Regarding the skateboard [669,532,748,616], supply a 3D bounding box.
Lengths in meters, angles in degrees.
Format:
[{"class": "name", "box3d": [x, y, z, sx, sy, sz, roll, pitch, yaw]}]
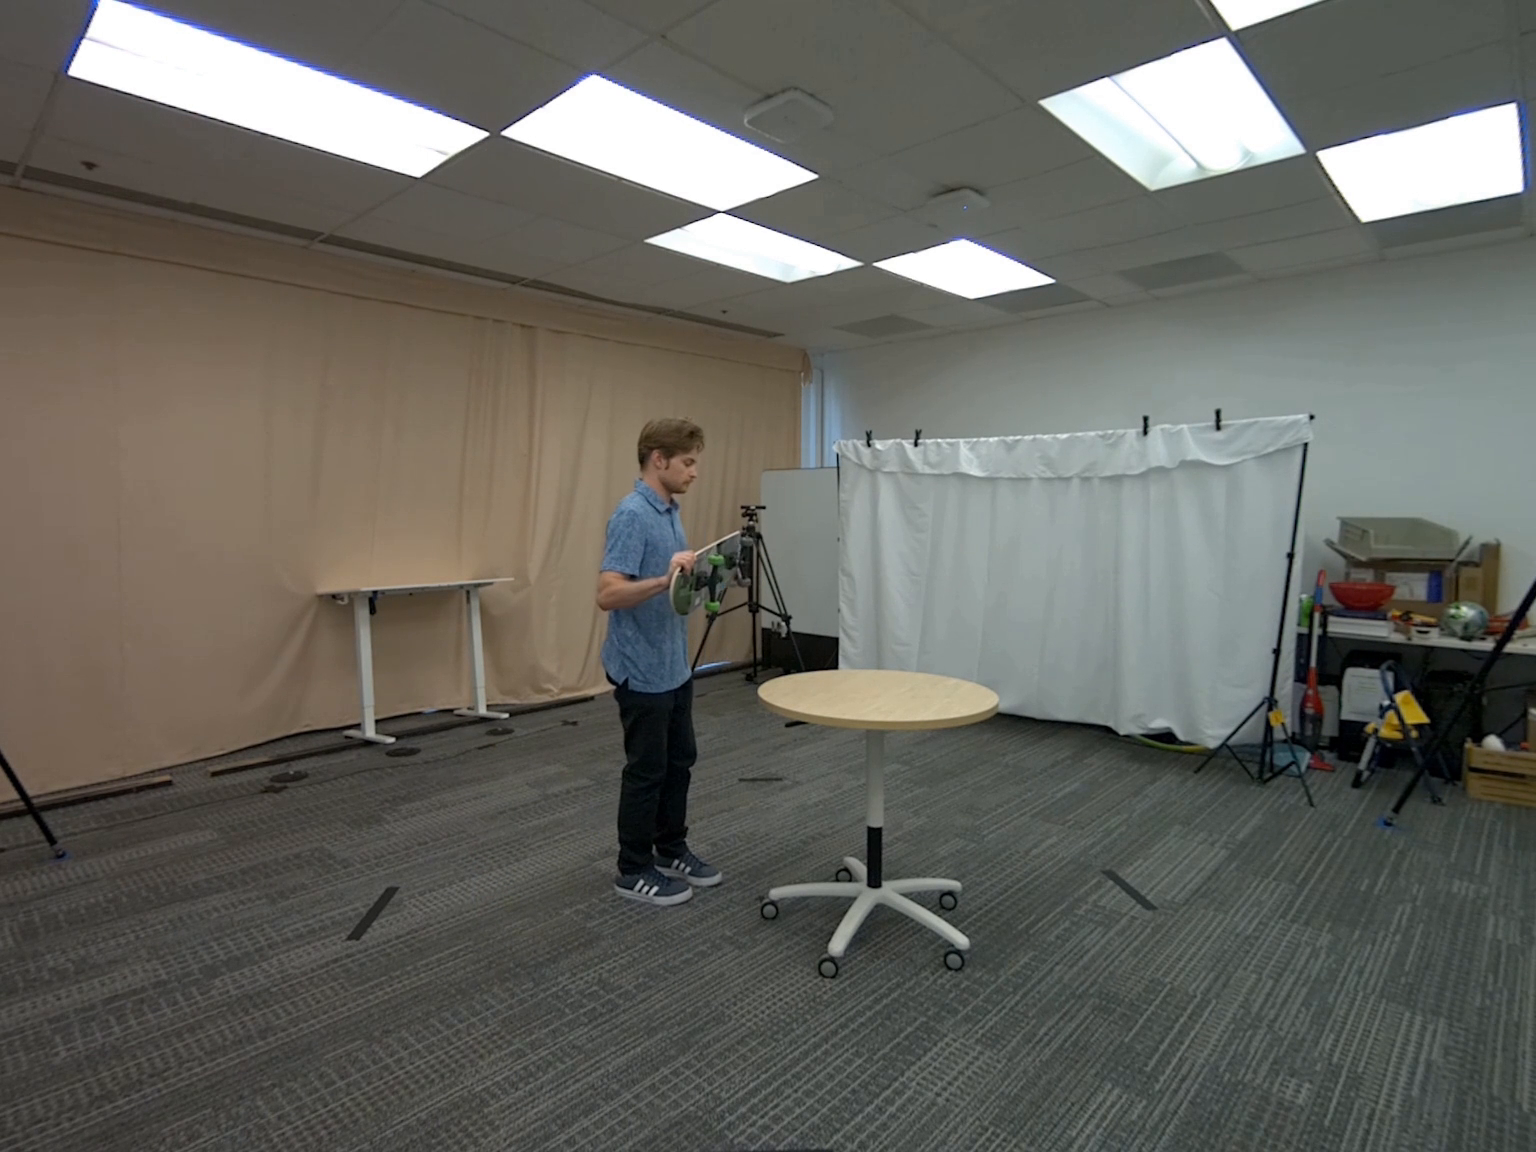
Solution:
[{"class": "skateboard", "box3d": [-0.154, -0.016, 2.928, 0.112, 0.192, 0.776, 6, 11, 13]}]
